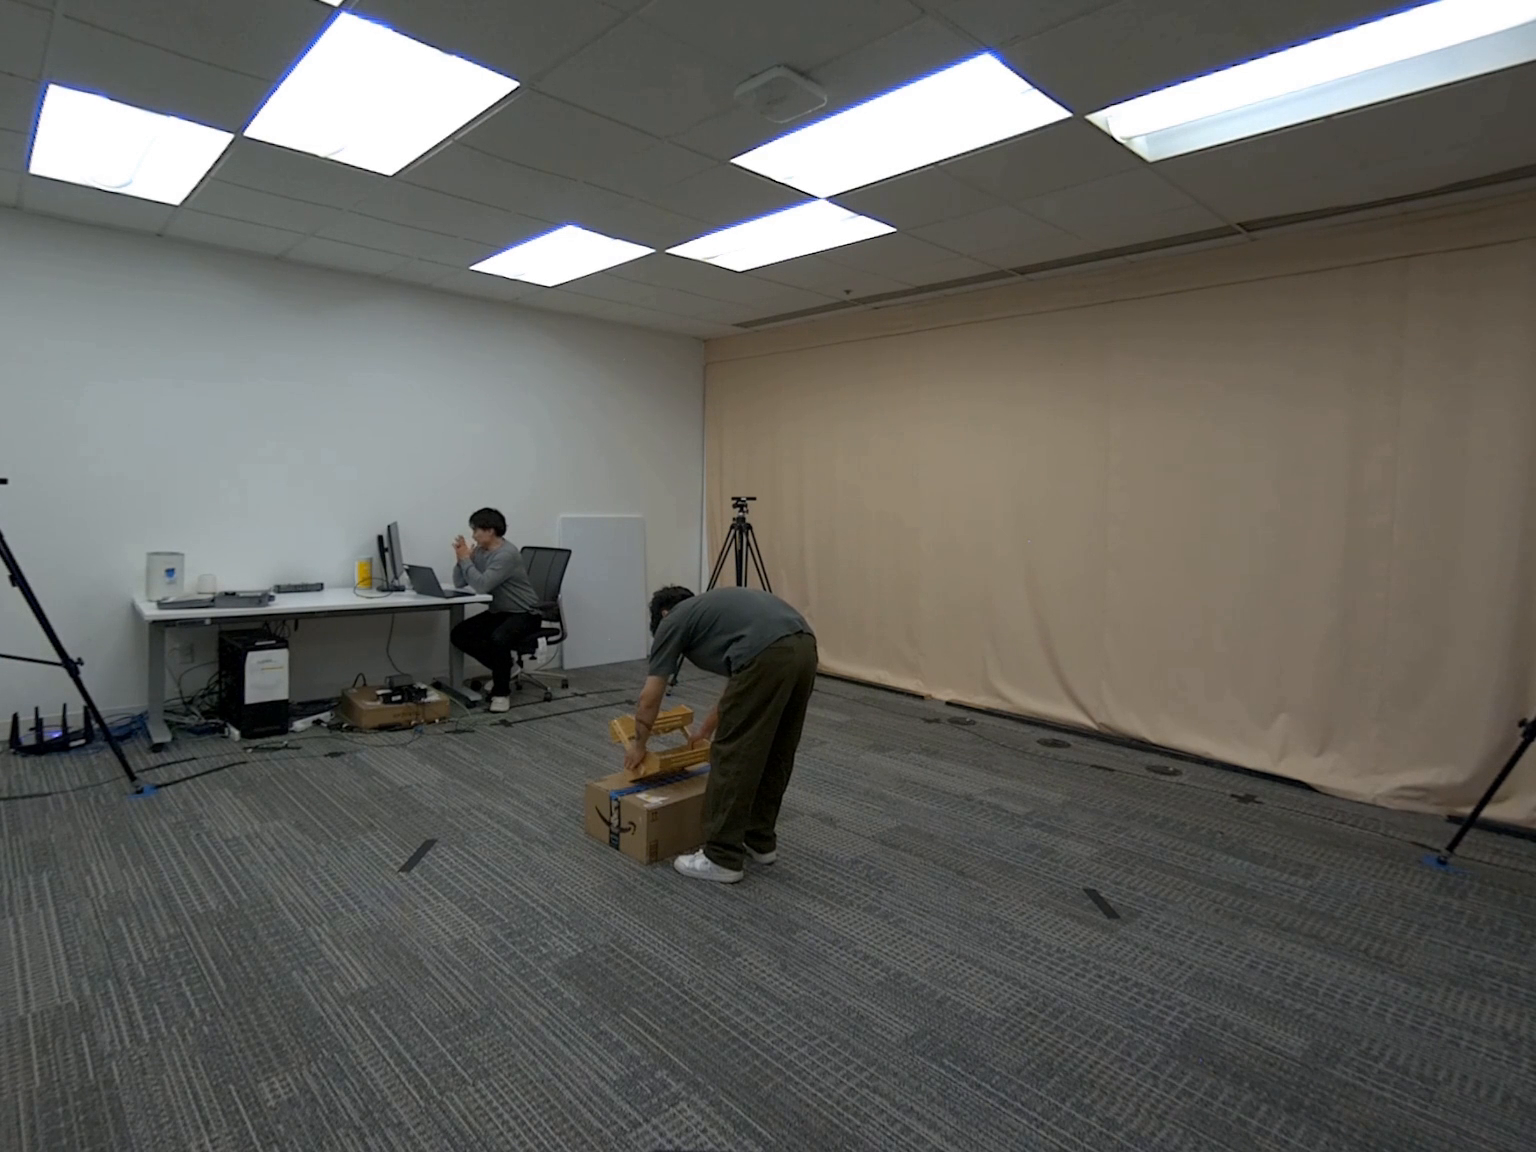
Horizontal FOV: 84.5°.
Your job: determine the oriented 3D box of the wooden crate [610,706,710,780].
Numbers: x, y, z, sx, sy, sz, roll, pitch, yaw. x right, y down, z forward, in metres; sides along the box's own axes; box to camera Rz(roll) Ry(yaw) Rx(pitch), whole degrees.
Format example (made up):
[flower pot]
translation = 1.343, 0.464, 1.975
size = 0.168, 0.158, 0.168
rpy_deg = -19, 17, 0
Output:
[wooden crate]
translation = -0.458, 0.688, 3.560
size = 0.317, 0.277, 0.305
rpy_deg = -1, -20, -43
